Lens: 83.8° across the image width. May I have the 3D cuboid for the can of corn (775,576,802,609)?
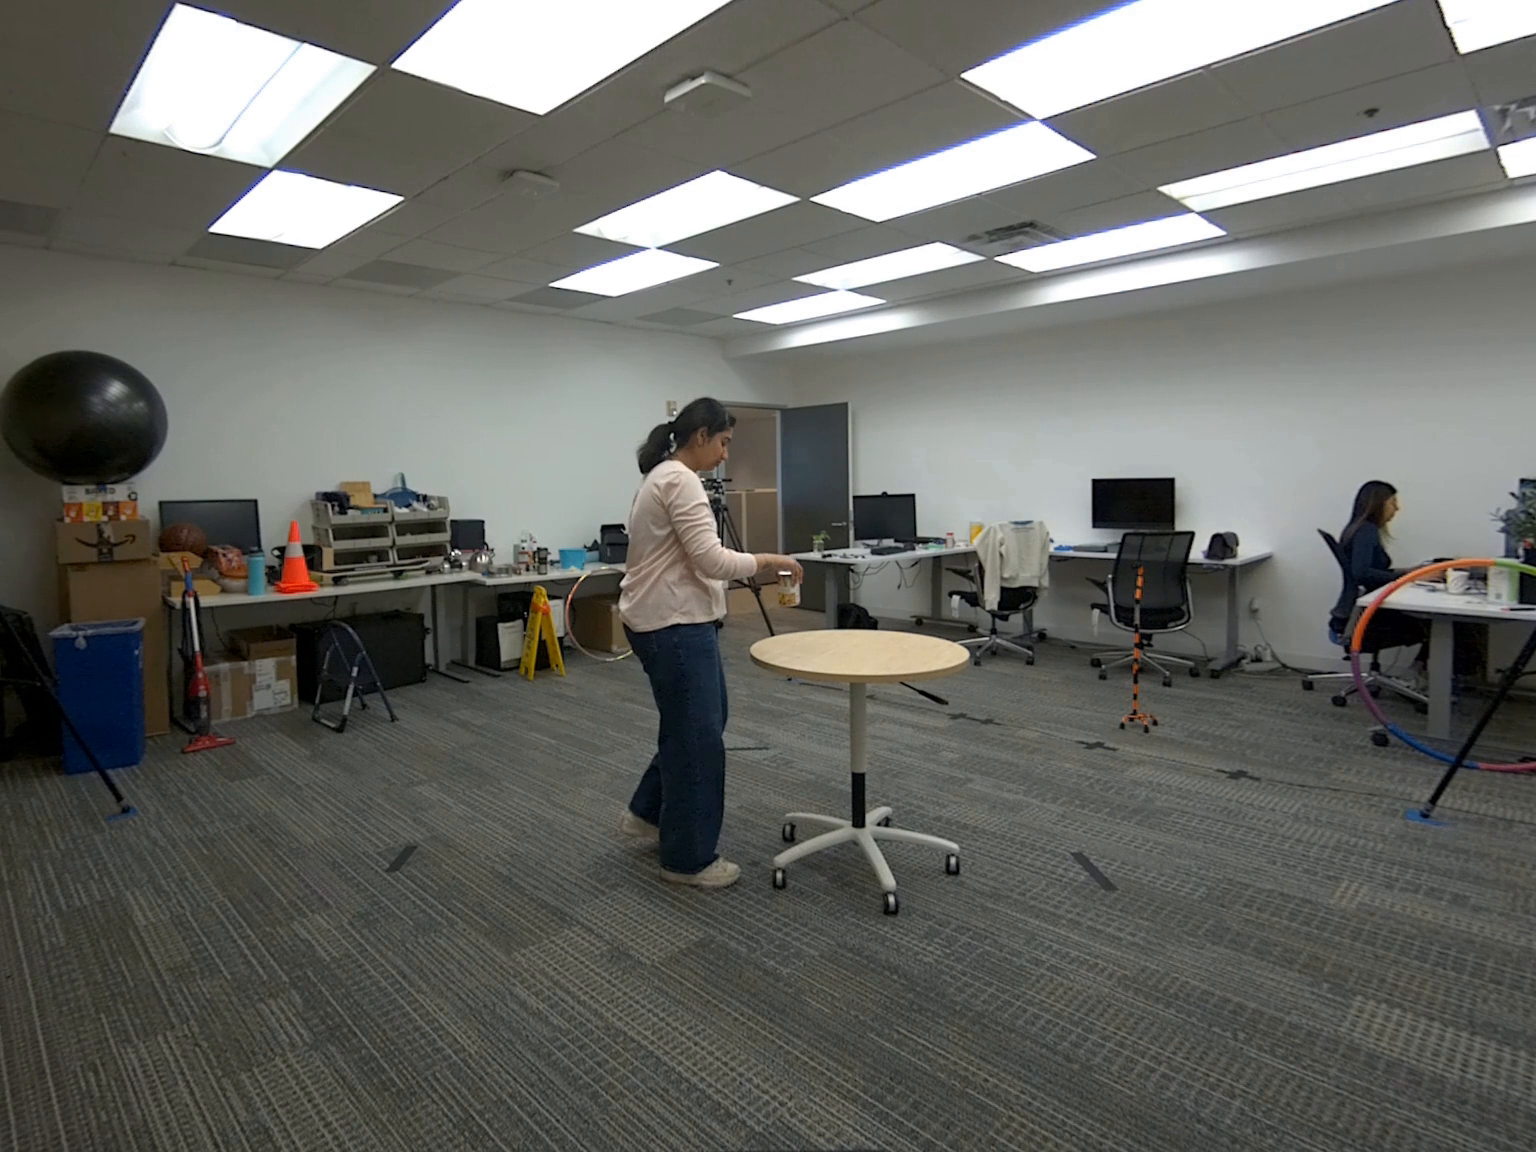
[{"bbox_3d":[0.066,0.044,2.978,0.074,0.110,0.075,-8,12,0],"label":"can of corn"}]
